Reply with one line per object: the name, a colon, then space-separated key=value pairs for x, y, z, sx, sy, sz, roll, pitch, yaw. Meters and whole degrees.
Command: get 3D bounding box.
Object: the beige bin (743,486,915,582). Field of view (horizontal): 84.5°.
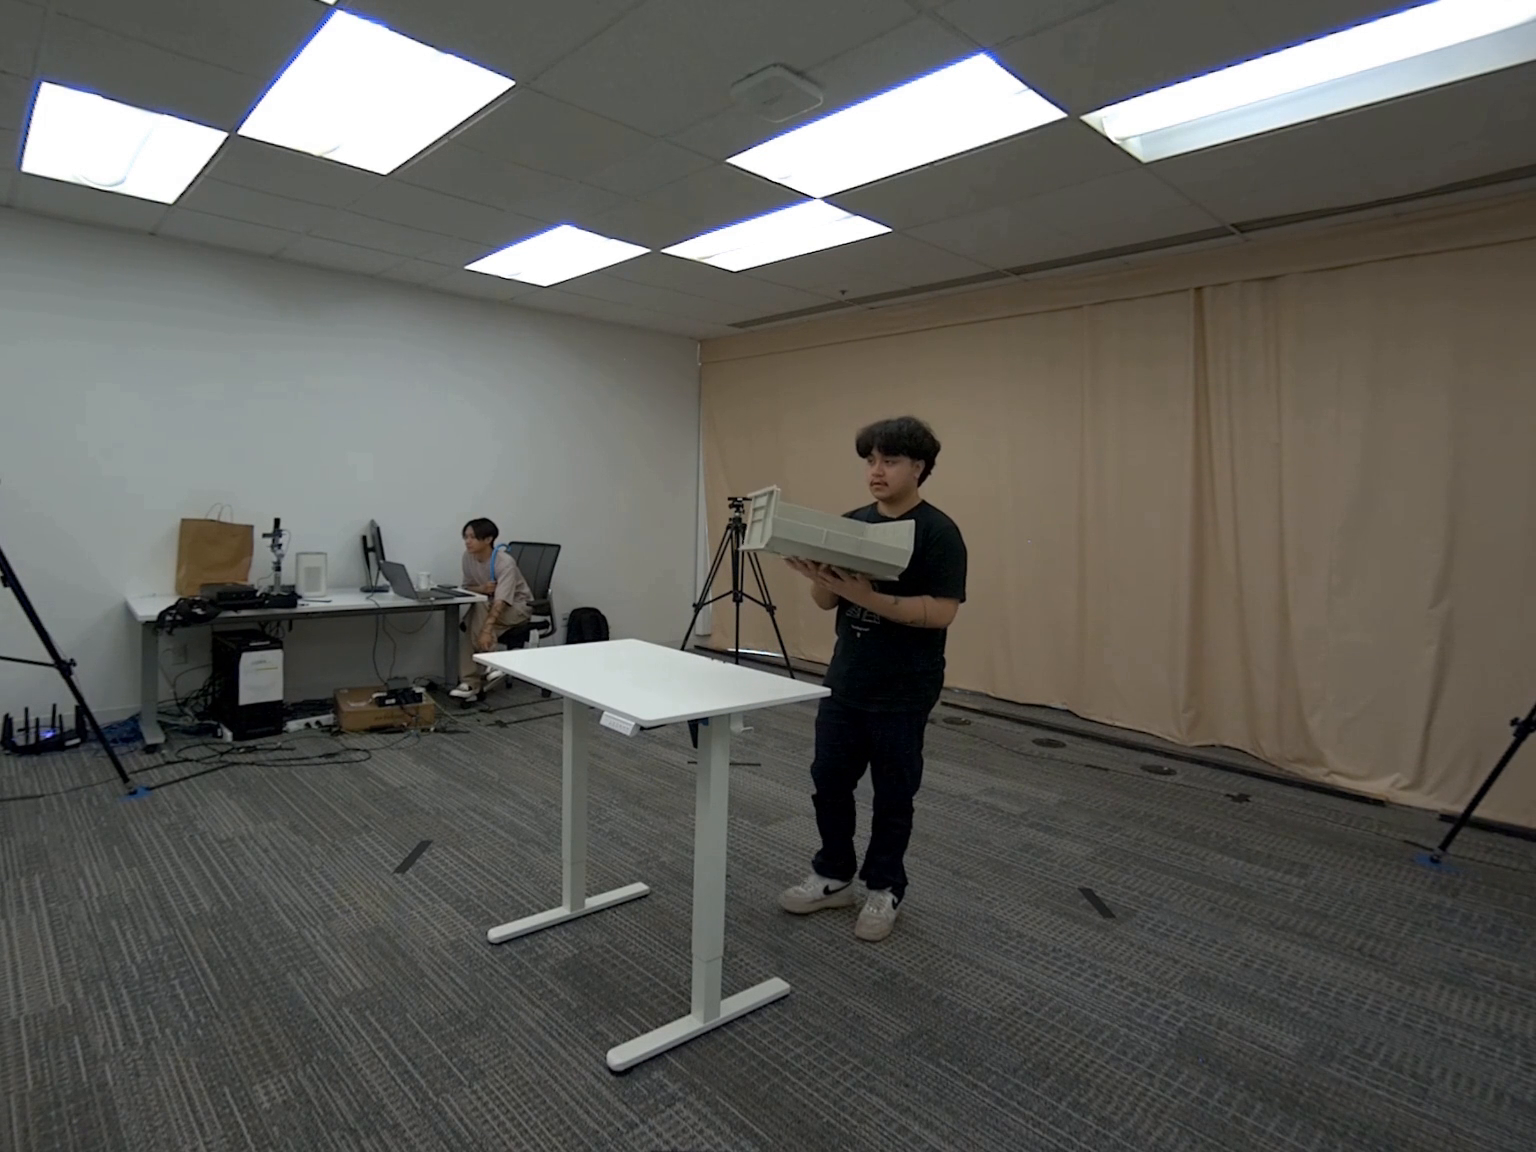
beige bin: x=0.163 y=-0.113 z=2.509 sx=0.416 sy=0.189 sz=0.382 roll=12 pitch=-3 yaw=-16
